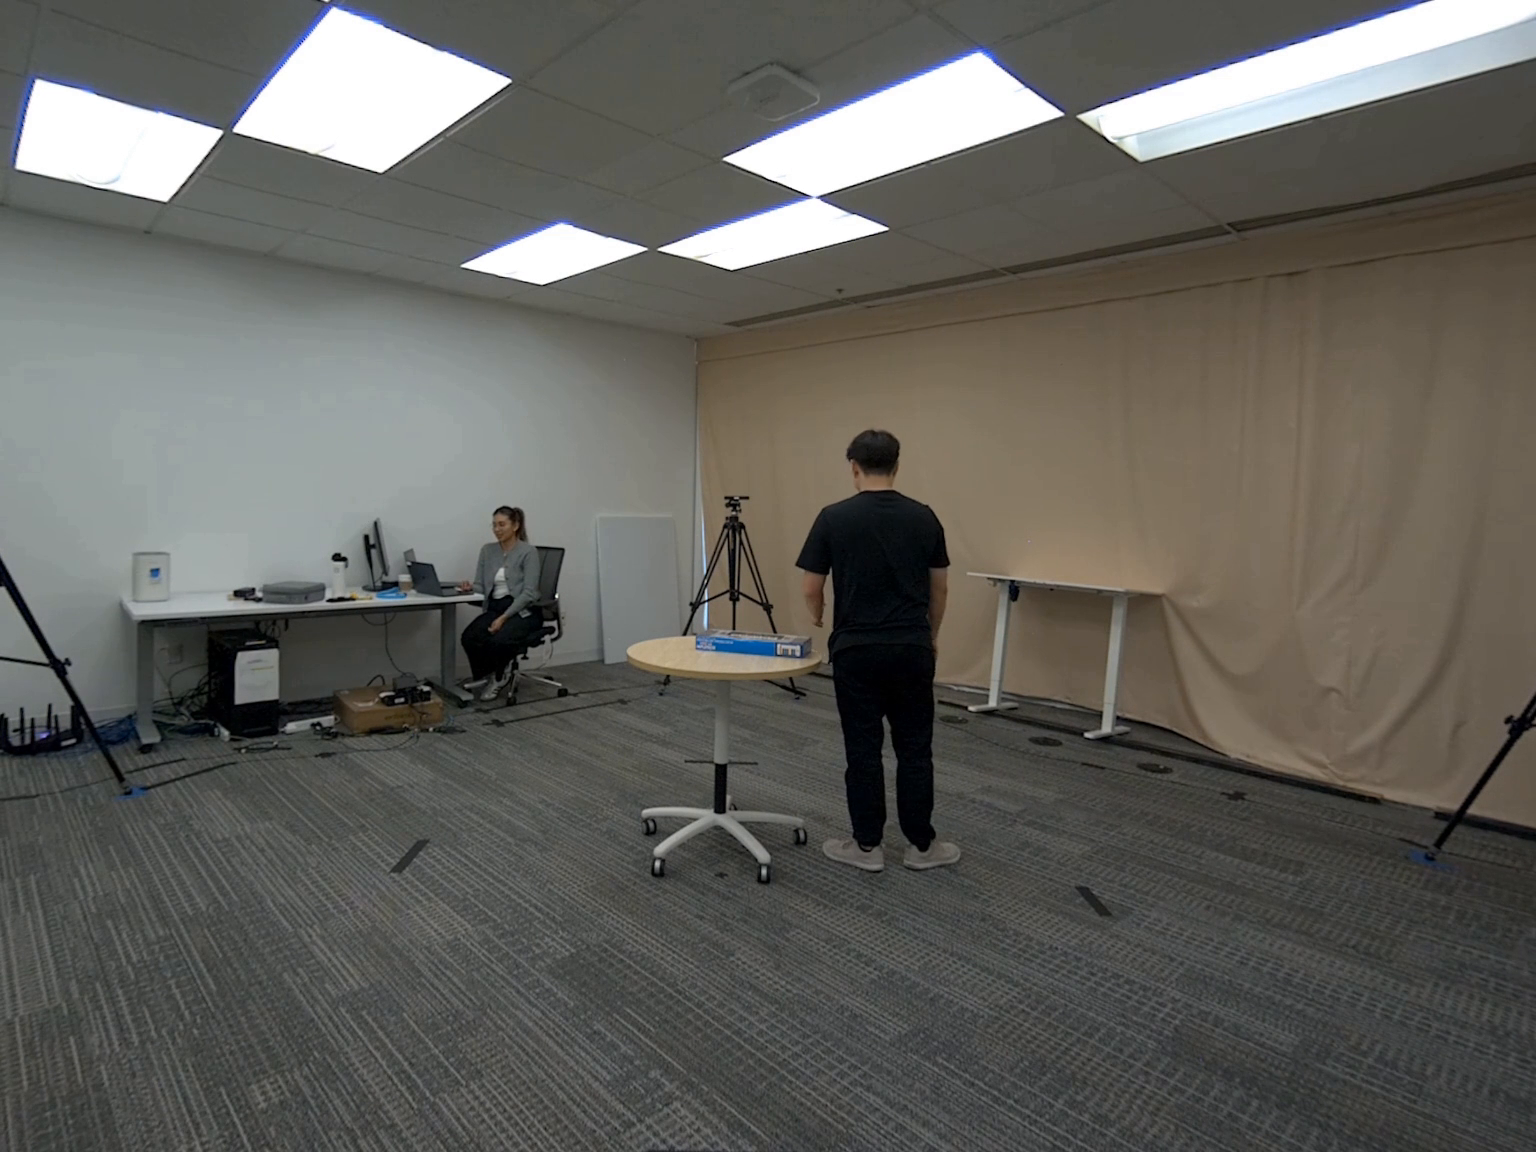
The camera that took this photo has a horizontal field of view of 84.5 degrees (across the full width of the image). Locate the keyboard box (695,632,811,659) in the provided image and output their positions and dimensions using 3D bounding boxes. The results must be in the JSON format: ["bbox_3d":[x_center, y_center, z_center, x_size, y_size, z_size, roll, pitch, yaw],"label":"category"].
[{"bbox_3d":[-0.063,0.268,3.372,0.443,0.059,0.174,4,5,16],"label":"keyboard box"}]
